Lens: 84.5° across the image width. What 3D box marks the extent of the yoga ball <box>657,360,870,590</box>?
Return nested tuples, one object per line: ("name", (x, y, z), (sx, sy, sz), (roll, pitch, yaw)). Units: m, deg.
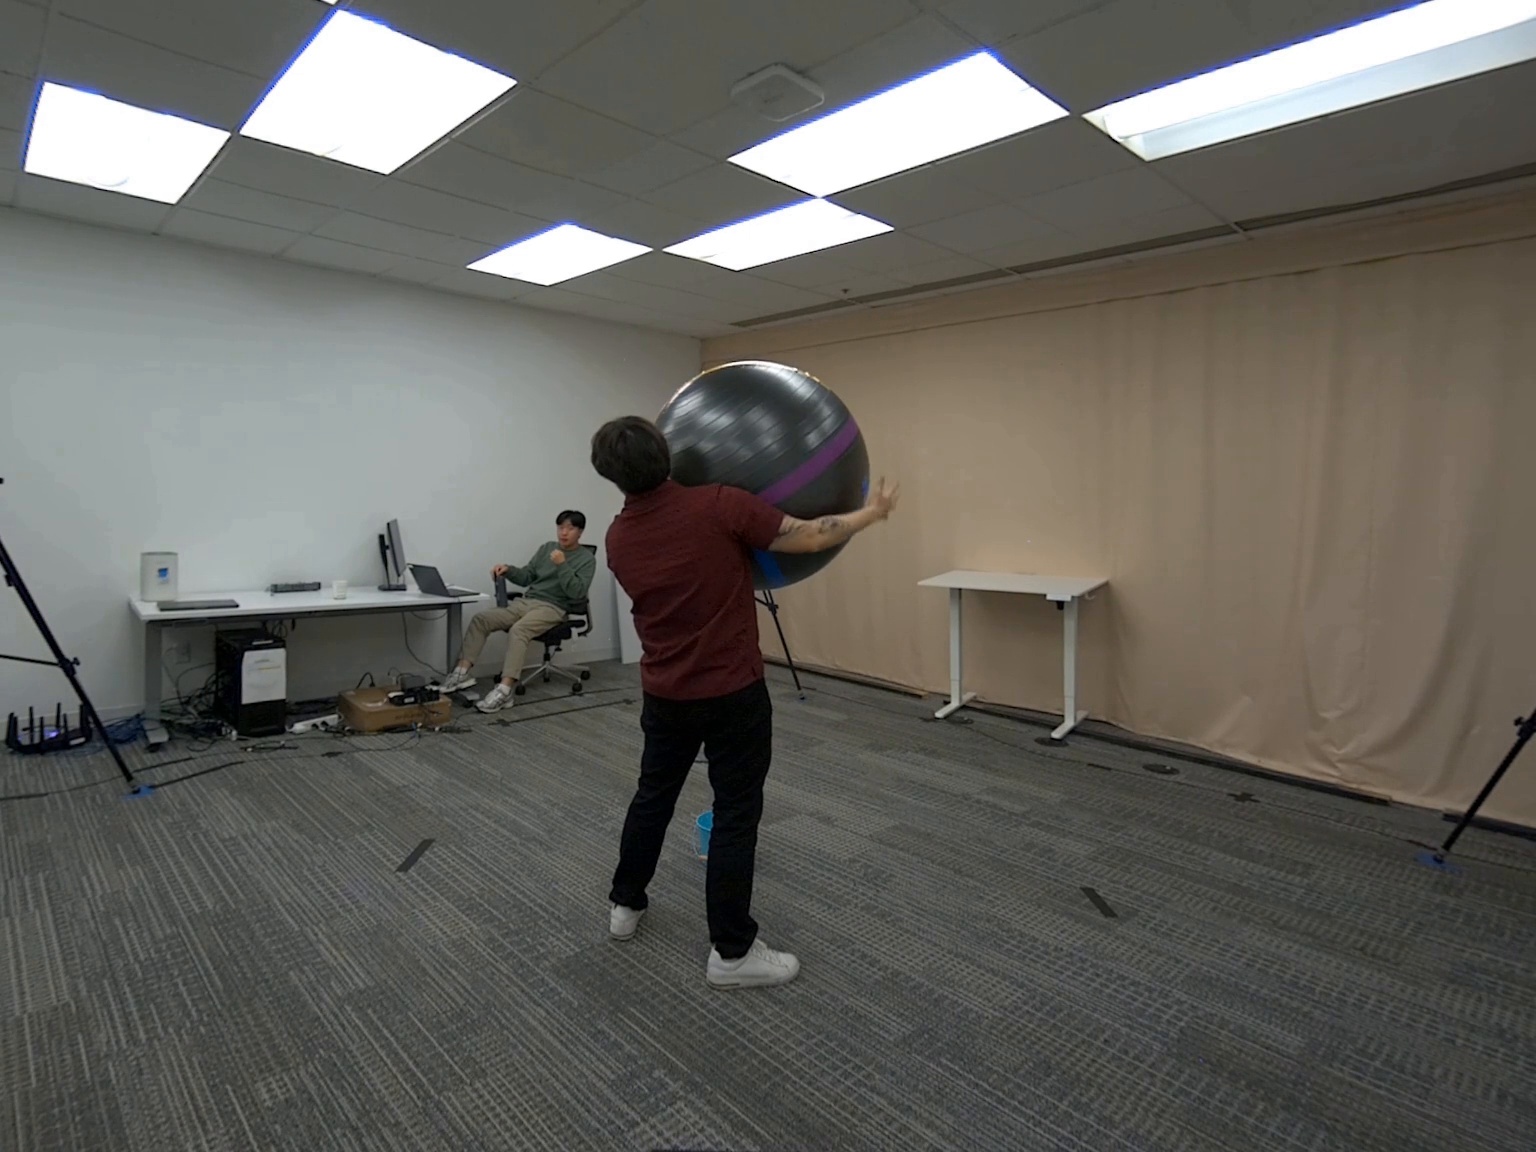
("yoga ball", (-0.045, -0.328, 2.818), (0.757, 0.756, 0.761), (1, 4, -1))
